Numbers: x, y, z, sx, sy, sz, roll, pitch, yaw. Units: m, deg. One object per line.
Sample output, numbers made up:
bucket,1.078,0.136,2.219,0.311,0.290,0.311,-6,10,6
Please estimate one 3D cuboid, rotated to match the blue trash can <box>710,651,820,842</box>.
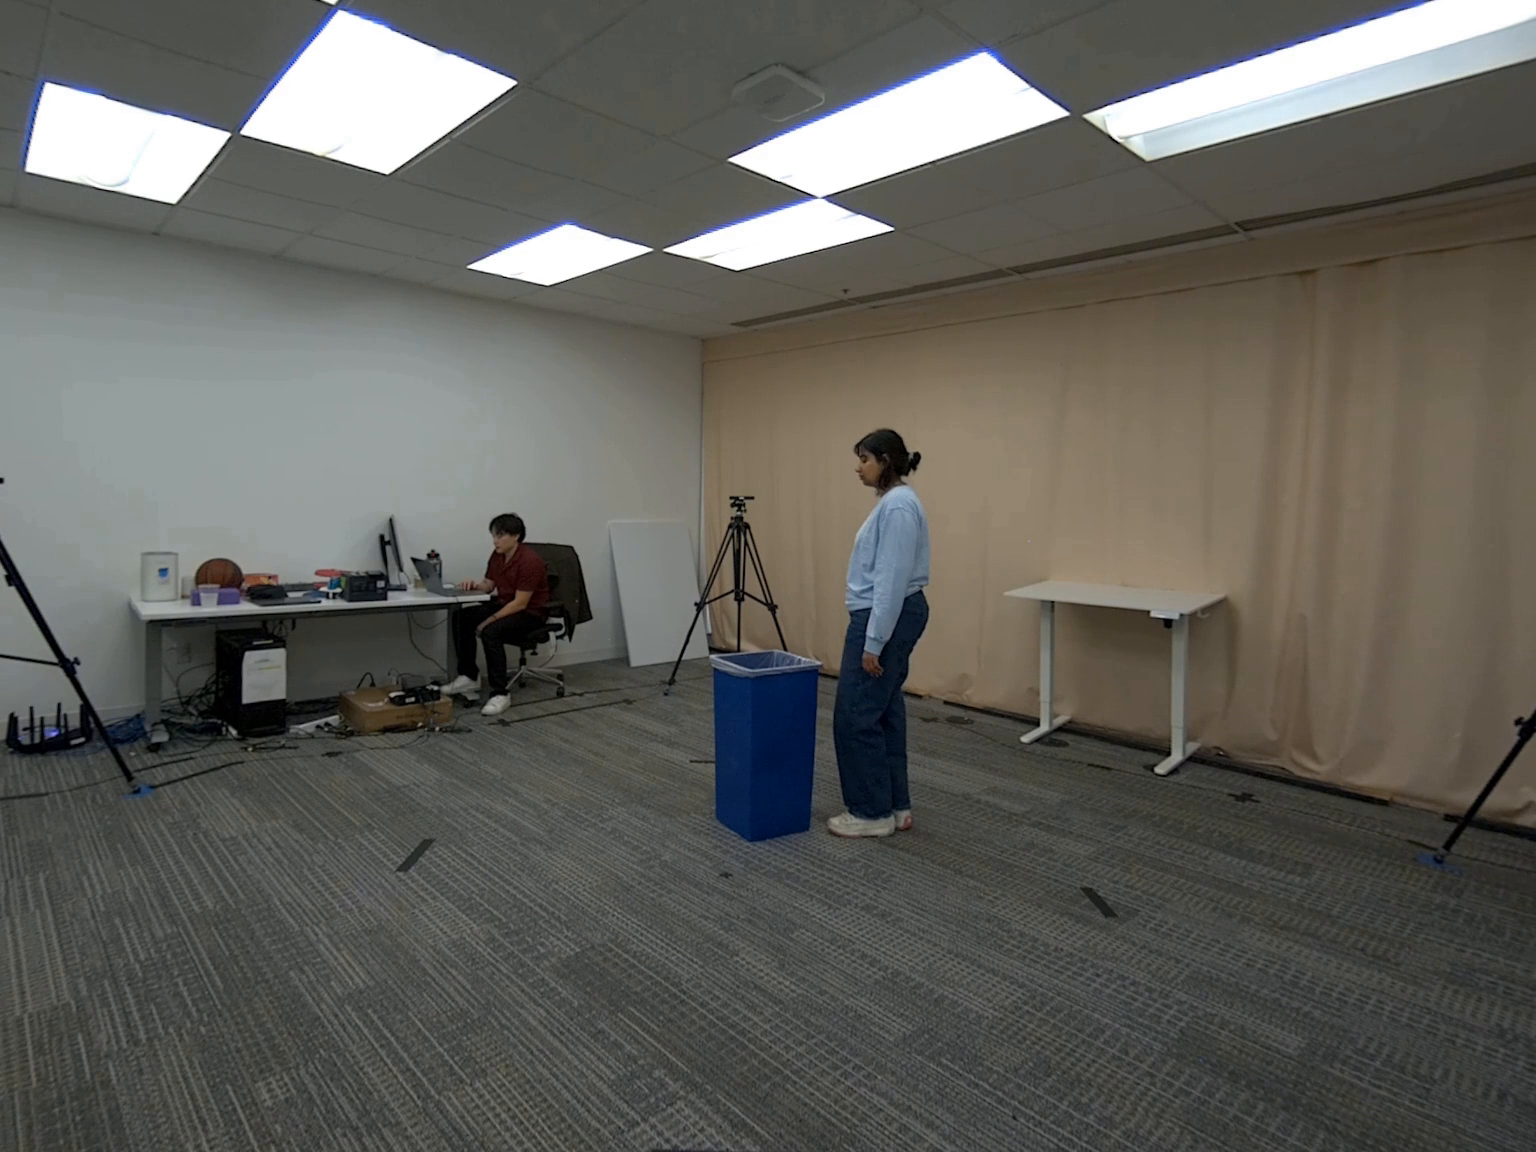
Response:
blue trash can,-0.029,0.707,3.582,0.366,0.712,0.387,0,3,-32
